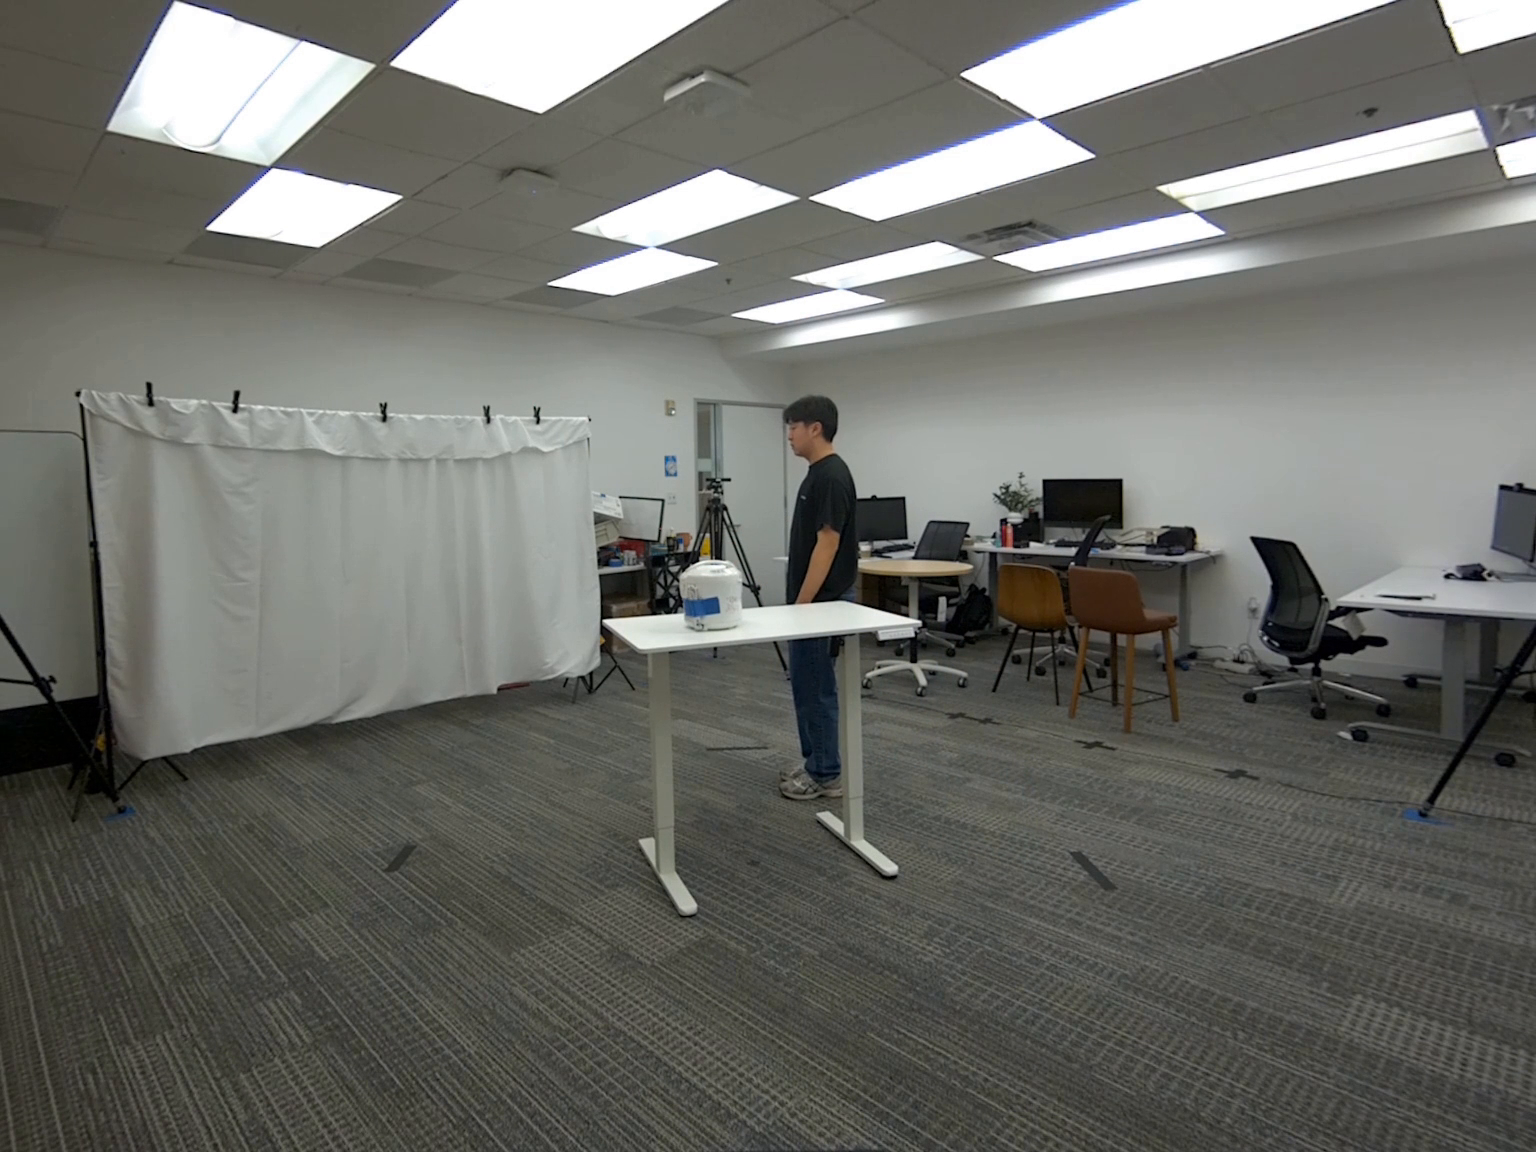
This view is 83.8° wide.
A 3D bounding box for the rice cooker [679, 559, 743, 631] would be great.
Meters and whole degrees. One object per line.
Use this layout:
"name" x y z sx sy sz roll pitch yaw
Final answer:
"rice cooker" -0.192 0.061 2.978 0.217 0.232 0.222 -2 5 -18
